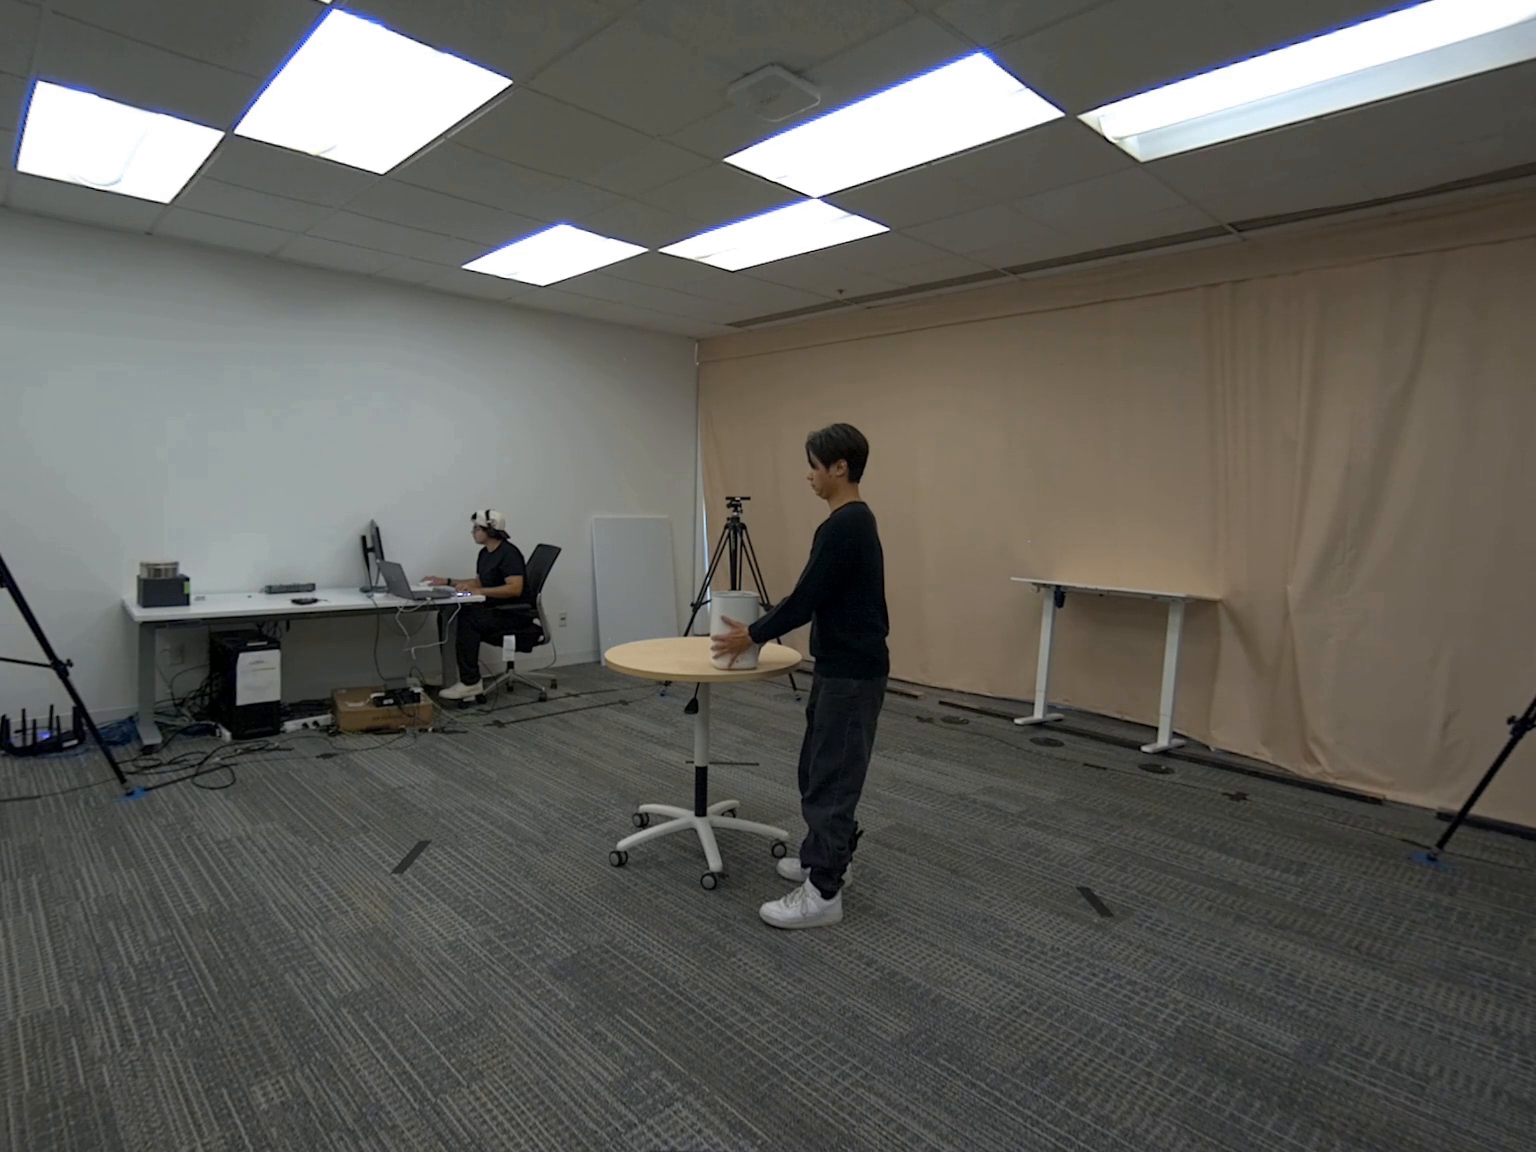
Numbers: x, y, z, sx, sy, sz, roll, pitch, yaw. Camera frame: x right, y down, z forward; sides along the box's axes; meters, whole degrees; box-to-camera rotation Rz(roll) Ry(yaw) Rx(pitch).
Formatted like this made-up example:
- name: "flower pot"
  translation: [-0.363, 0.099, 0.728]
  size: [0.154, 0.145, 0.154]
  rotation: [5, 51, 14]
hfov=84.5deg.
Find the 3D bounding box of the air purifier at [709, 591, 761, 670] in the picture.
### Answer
- name: "air purifier"
  translation: [-0.125, 0.195, 3.056]
  size: [0.170, 0.265, 0.173]
  rotation: [2, 2, -6]
